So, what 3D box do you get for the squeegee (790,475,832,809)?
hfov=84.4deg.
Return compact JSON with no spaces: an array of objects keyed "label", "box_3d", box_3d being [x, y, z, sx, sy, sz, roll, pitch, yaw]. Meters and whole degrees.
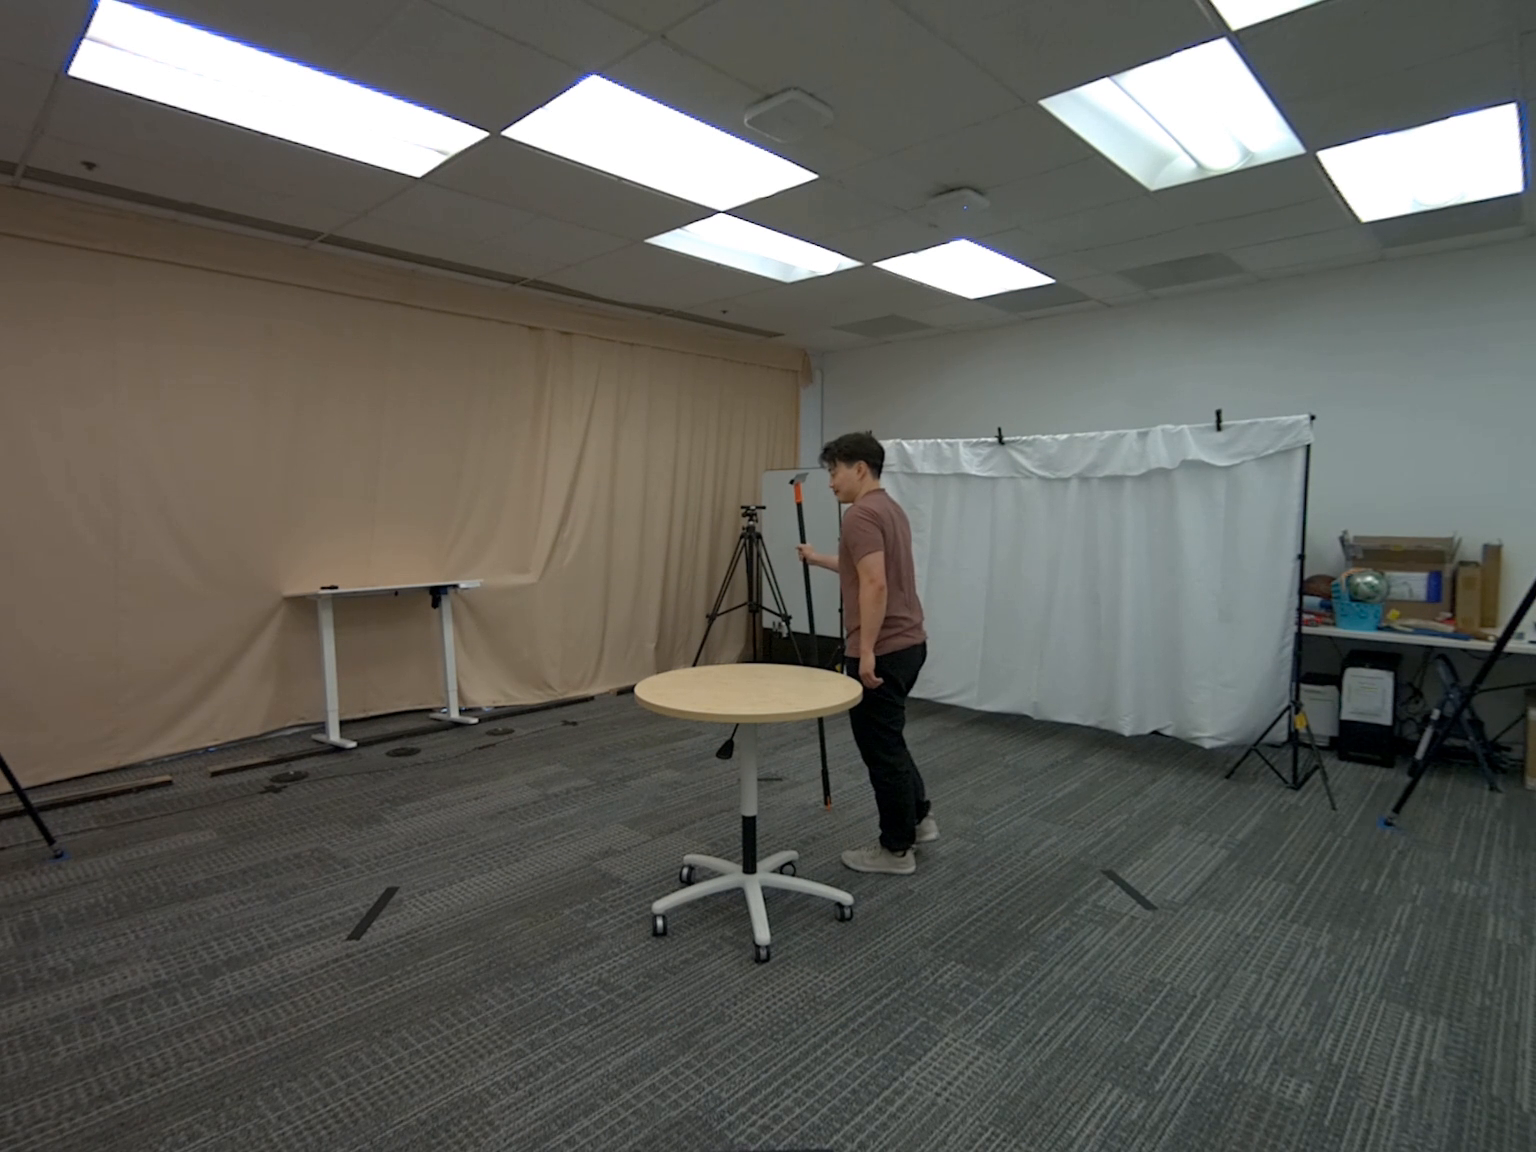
[{"label":"squeegee","box_3d":[0.204,0.308,3.804,0.054,1.533,0.431,-3,4,15]}]
